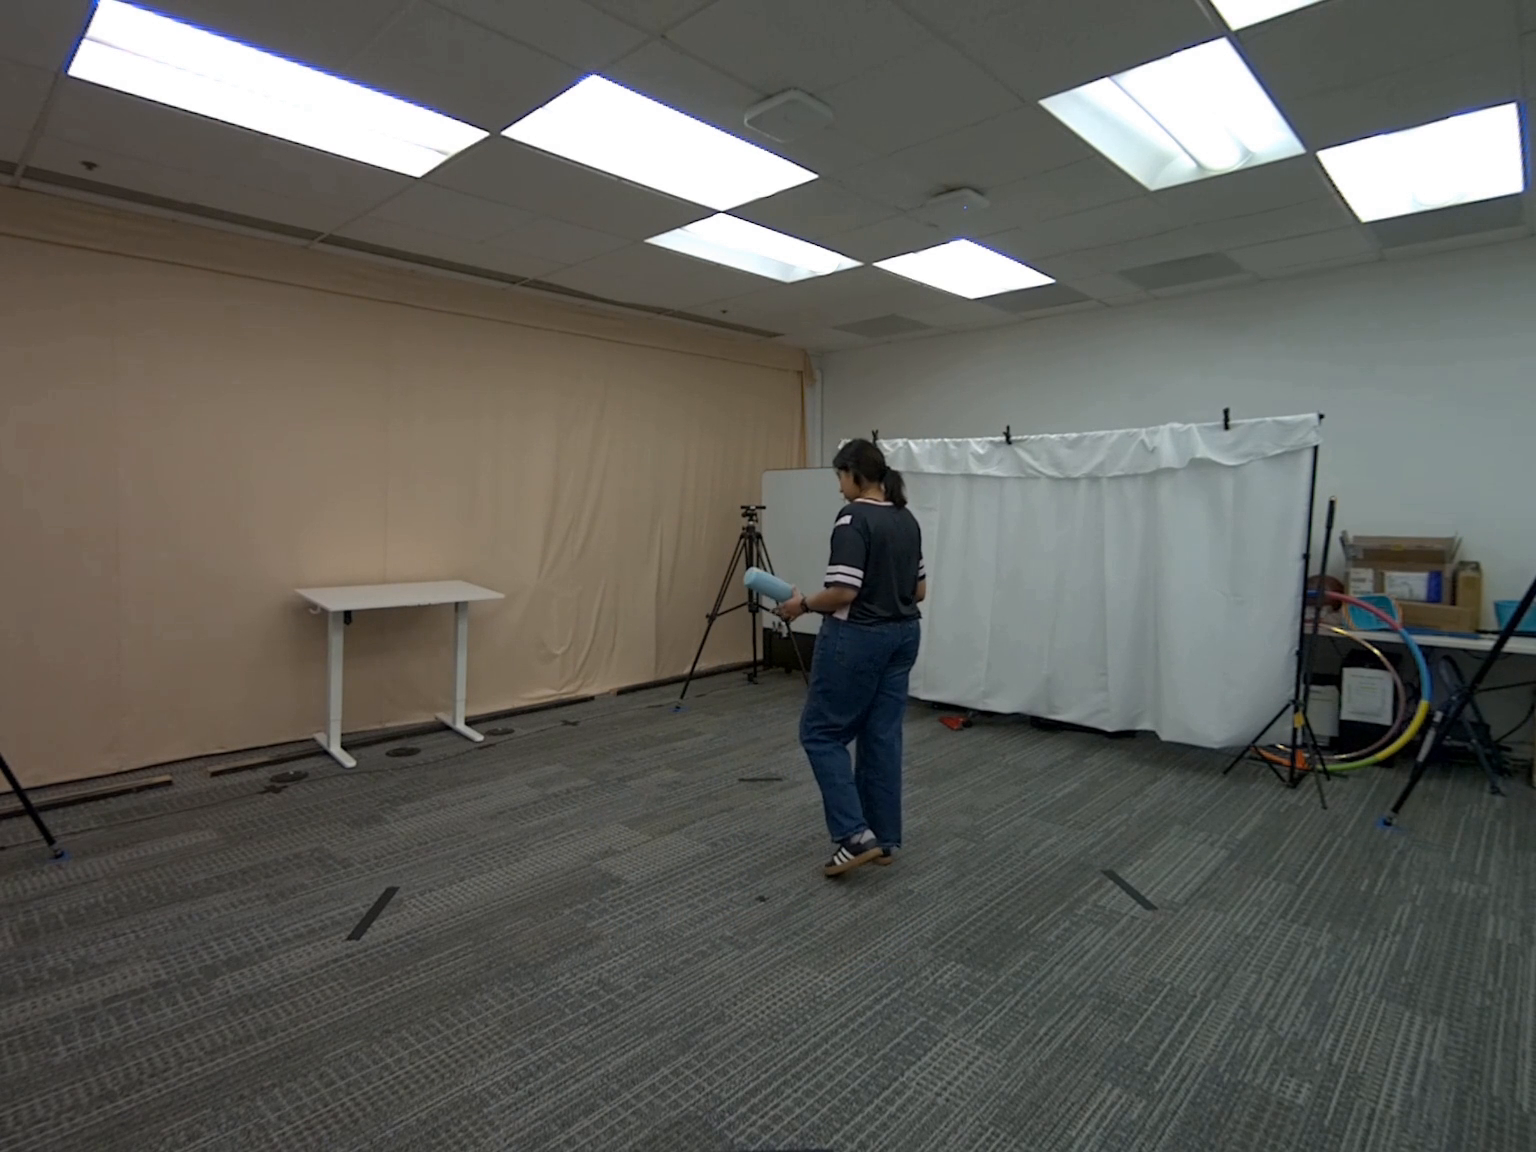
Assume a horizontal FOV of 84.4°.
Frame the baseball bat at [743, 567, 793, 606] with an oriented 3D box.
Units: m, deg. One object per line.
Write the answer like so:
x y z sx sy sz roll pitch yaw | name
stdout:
0.141 0.118 3.450 0.532 0.089 0.091 27 -5 -16 | baseball bat
